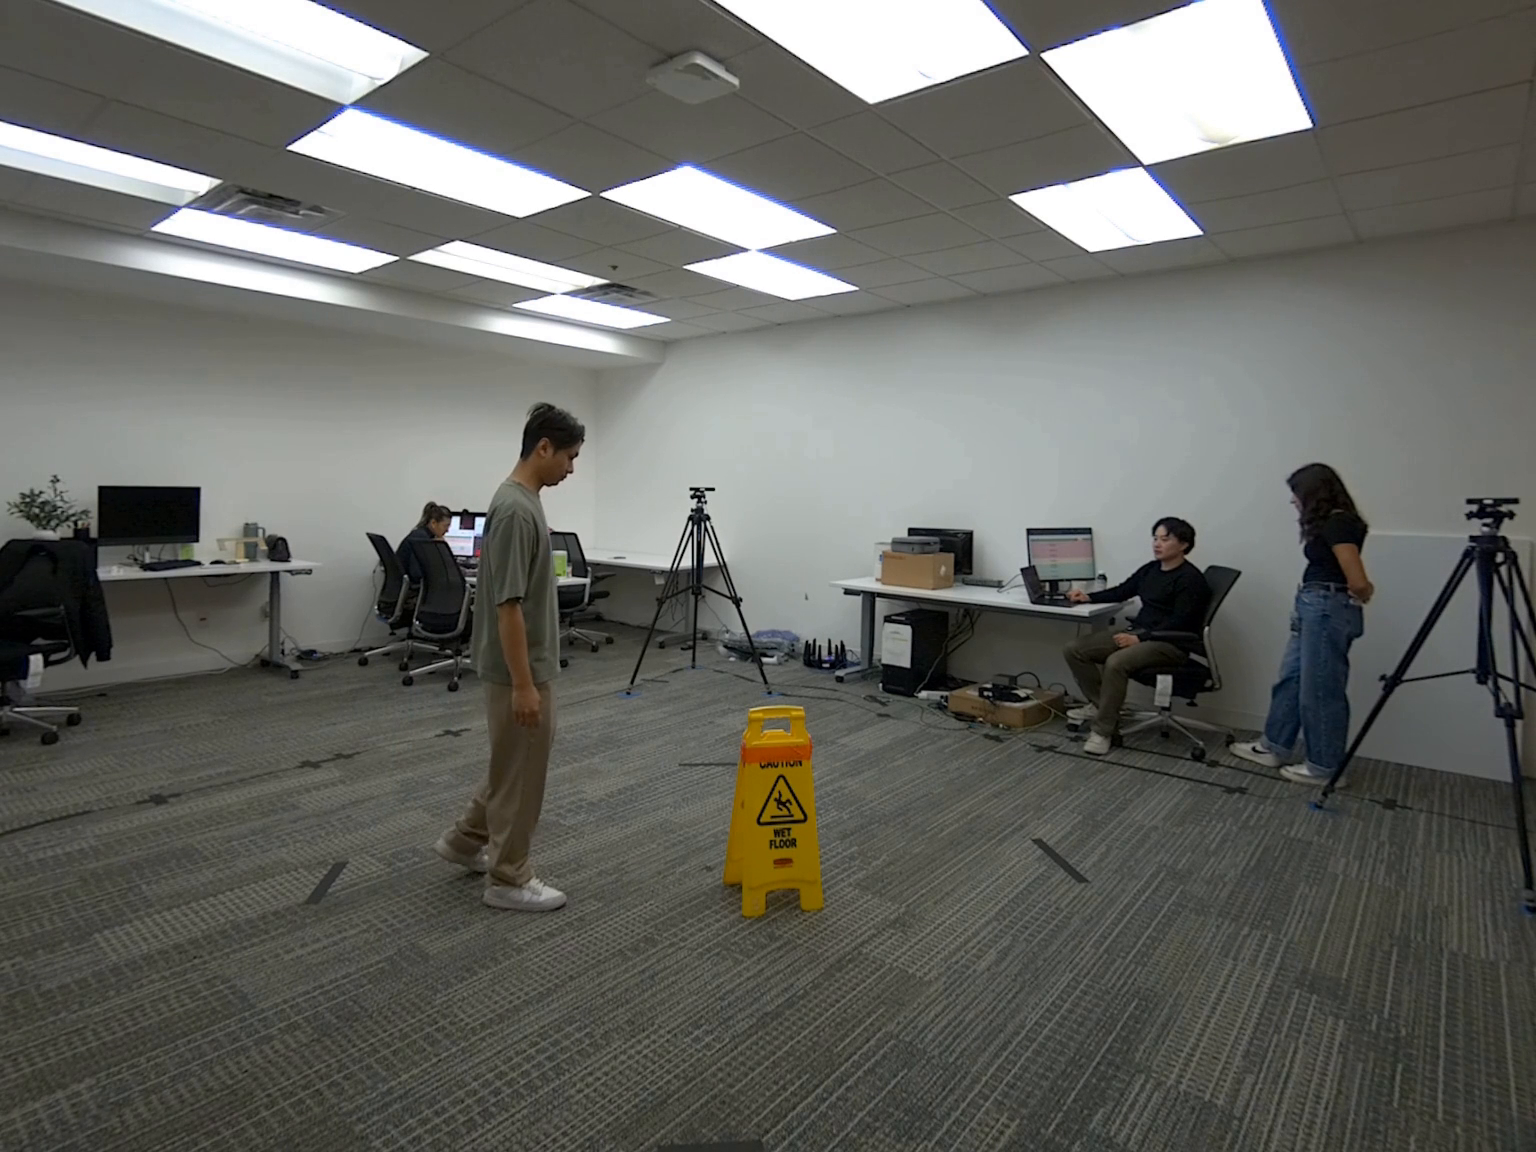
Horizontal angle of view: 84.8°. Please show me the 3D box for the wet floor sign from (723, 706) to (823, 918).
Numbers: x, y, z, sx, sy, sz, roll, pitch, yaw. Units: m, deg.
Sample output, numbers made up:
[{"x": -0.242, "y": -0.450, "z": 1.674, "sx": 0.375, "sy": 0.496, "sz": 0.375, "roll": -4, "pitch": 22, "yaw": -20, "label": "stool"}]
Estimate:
[{"x": 0.017, "y": 0.767, "z": 2.888, "sx": 0.278, "sy": 0.644, "sz": 0.295, "roll": 1, "pitch": 4, "yaw": -16, "label": "wet floor sign"}]
